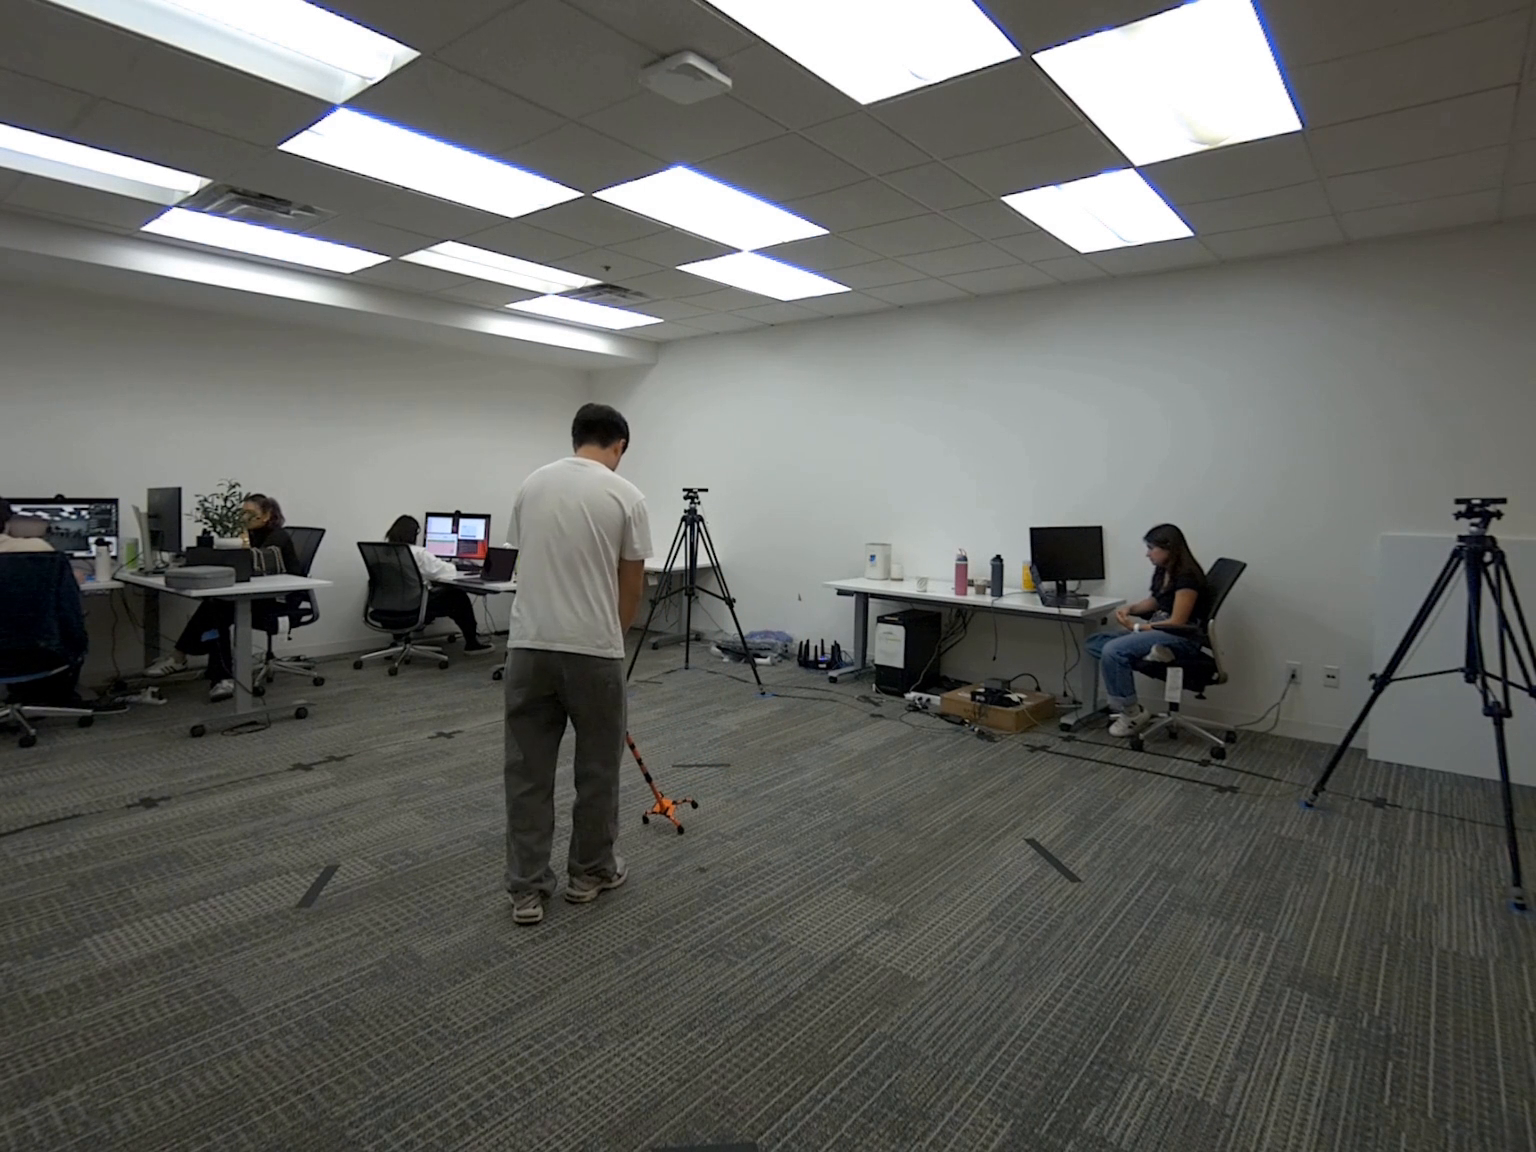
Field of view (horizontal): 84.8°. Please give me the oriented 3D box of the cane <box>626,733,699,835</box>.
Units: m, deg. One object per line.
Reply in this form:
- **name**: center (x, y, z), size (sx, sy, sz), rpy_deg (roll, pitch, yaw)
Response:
- **cane**: center (-0.526, 0.635, 3.298), size (0.212, 0.877, 0.152), rpy_deg (1, 38, 30)
